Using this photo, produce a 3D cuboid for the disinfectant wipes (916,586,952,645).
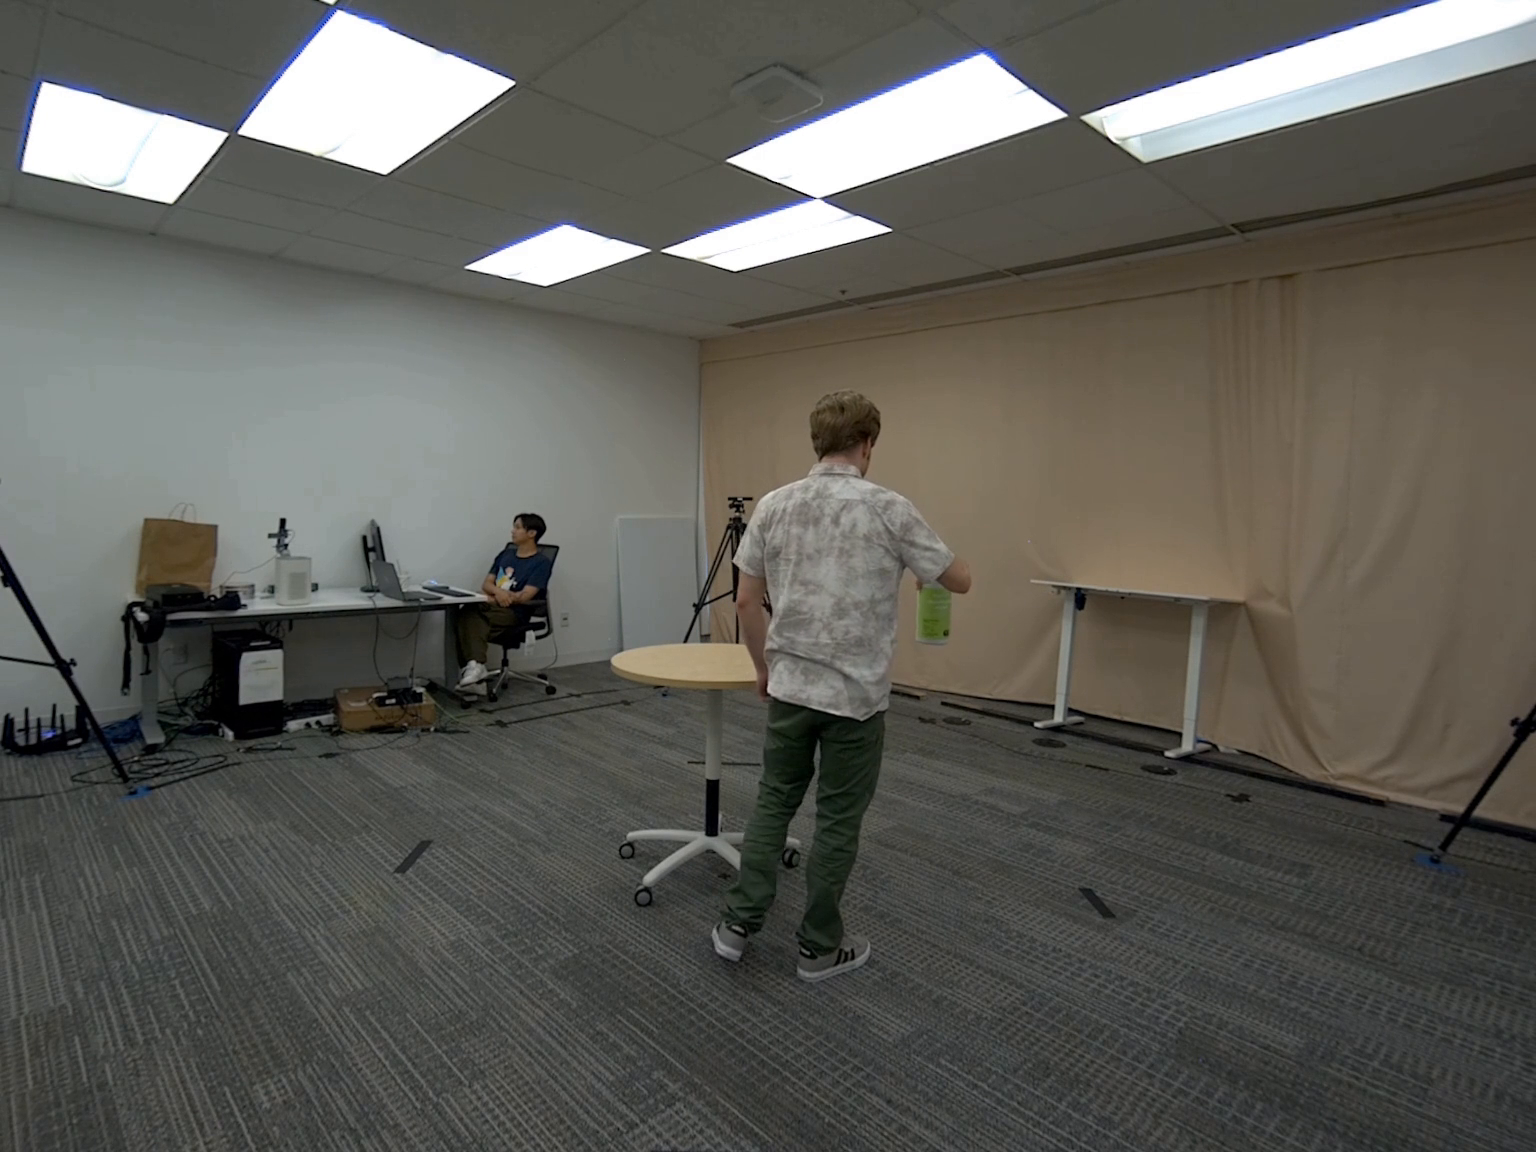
[{"bbox_3d":[0.532,0.116,2.763,0.118,0.216,0.119,2,10,-2],"label":"disinfectant wipes"}]
